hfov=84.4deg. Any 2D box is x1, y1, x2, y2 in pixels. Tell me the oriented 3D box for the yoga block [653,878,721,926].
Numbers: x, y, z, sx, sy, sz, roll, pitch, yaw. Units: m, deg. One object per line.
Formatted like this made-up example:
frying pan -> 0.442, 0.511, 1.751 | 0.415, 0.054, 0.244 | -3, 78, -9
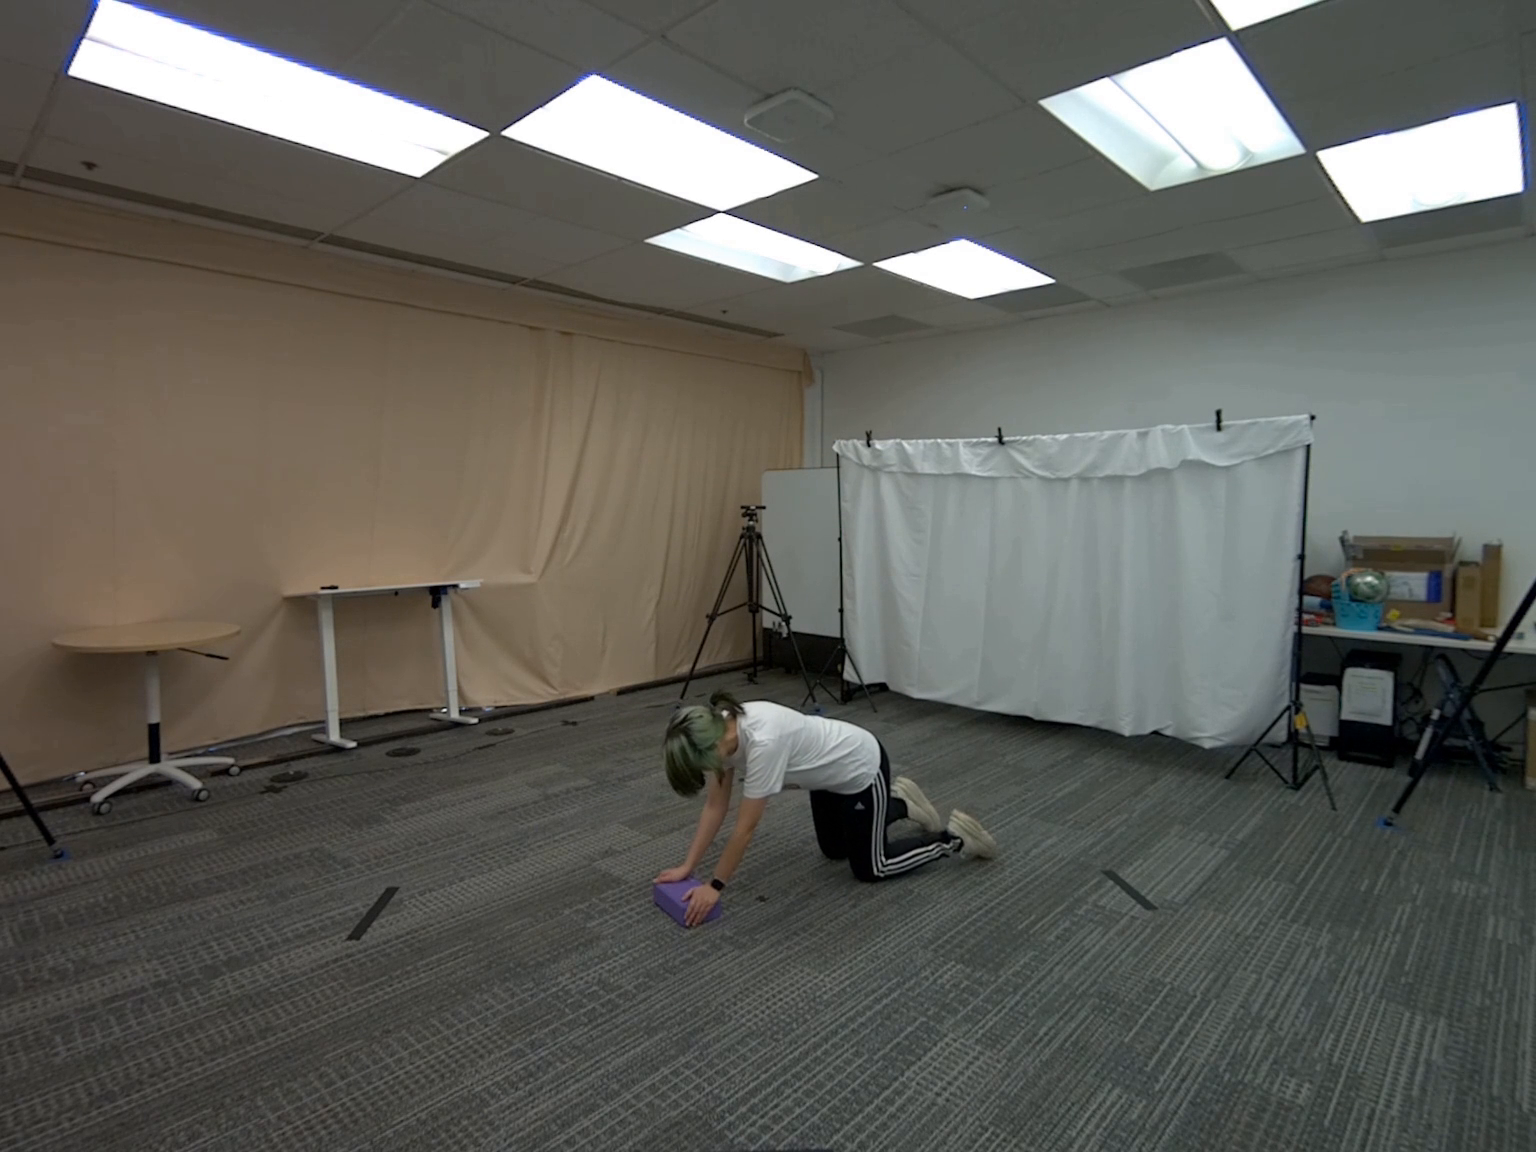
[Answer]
yoga block -> -0.276, 1.114, 2.900 | 0.145, 0.076, 0.237 | -4, 7, -35
